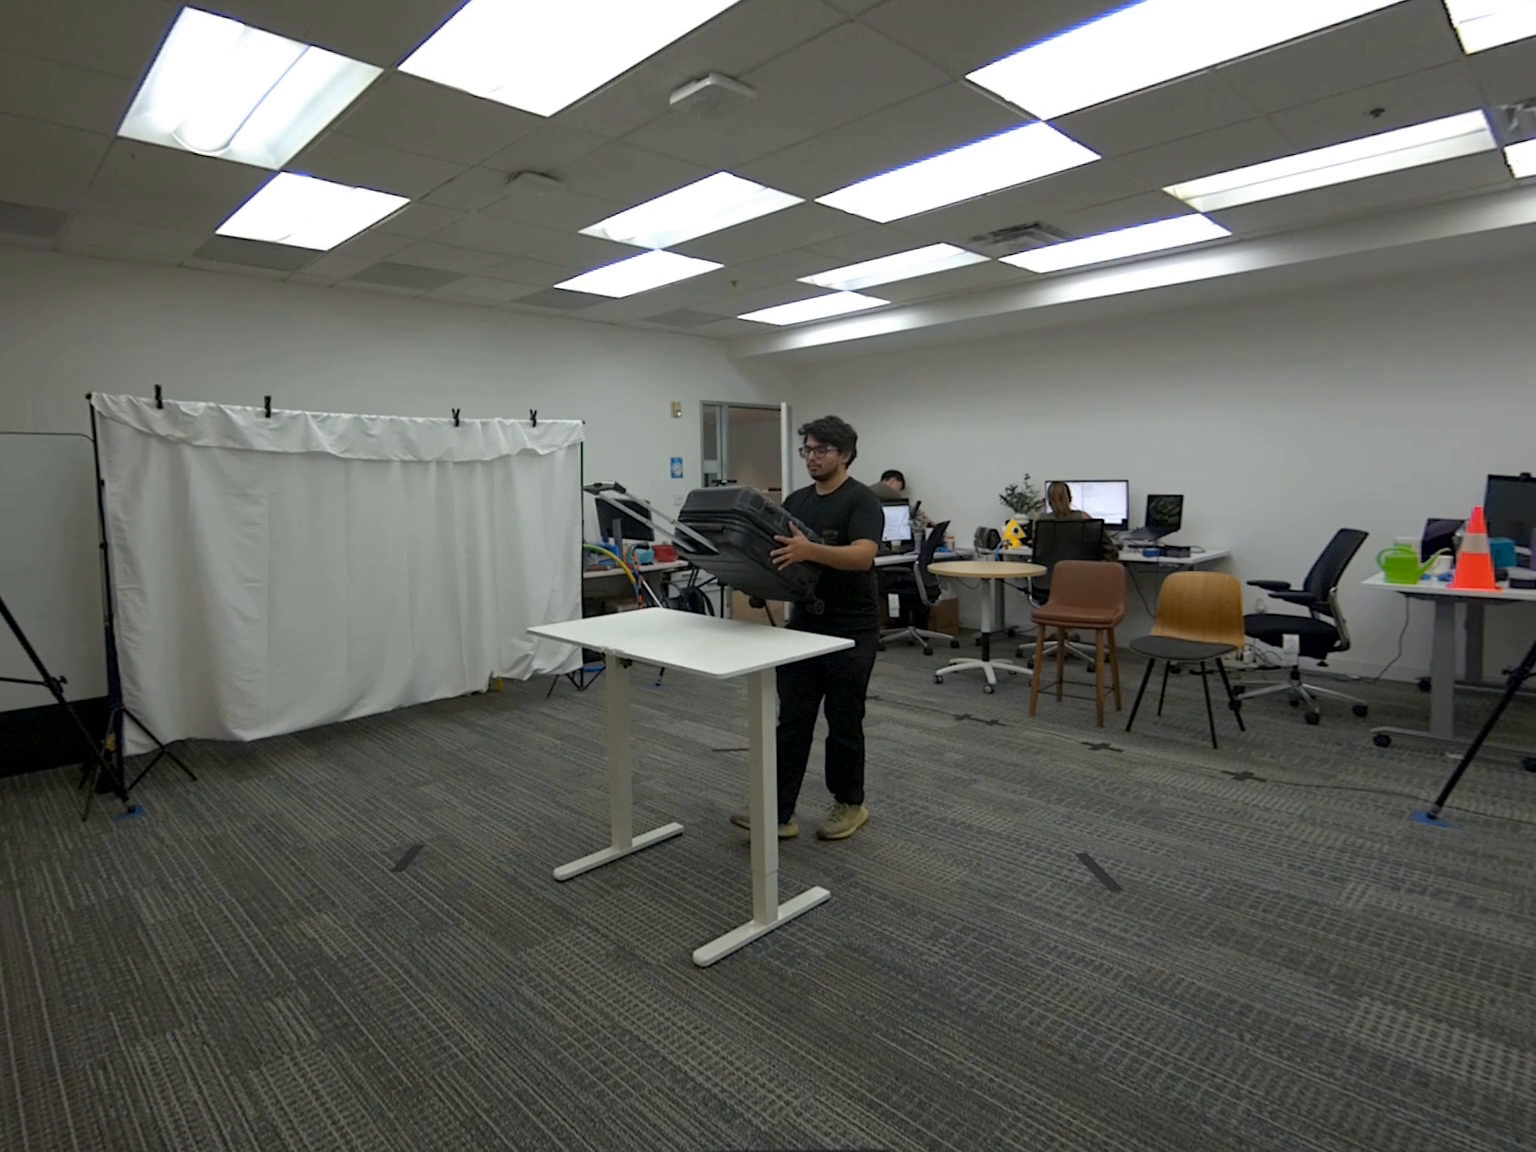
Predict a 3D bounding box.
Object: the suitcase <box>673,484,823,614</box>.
[{"bbox_3d":[-0.189,-0.188,2.933,0.395,0.259,0.941,3,-24,44],"label":"suitcase"}]
